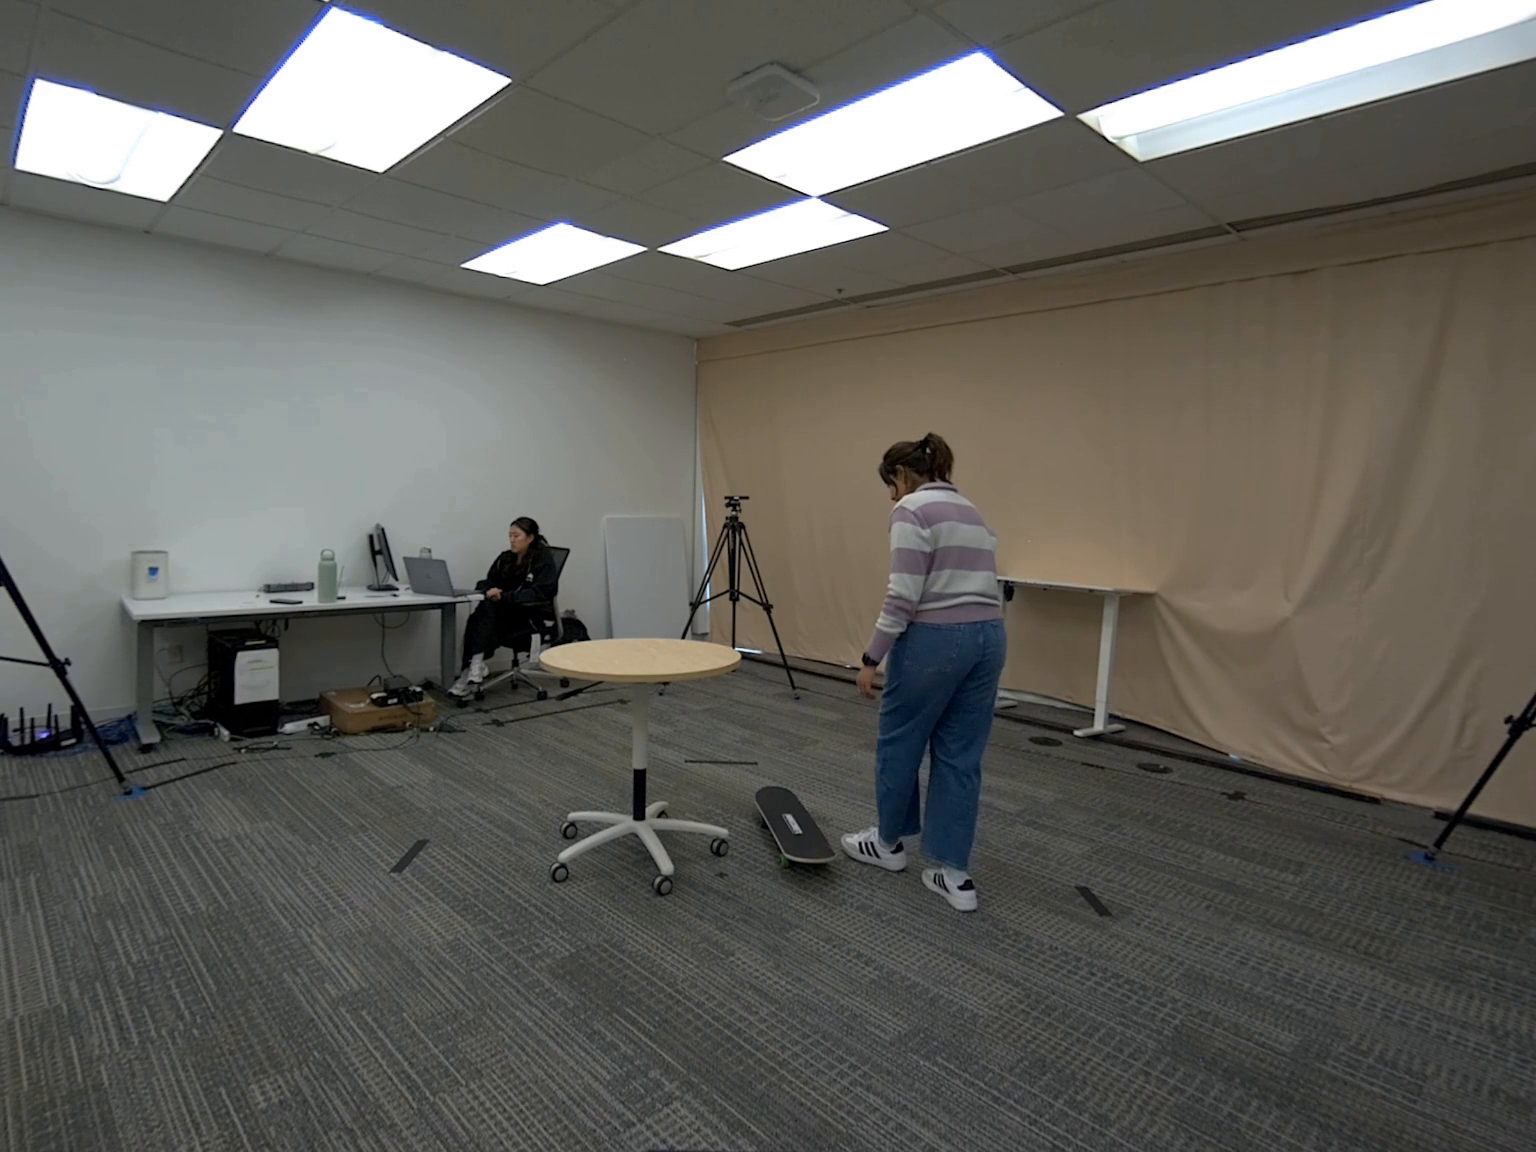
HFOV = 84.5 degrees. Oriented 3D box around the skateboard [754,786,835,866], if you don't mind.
[{"bbox_3d":[0.080,1.027,3.390,0.192,0.110,0.794,1,5,-11],"label":"skateboard"}]
